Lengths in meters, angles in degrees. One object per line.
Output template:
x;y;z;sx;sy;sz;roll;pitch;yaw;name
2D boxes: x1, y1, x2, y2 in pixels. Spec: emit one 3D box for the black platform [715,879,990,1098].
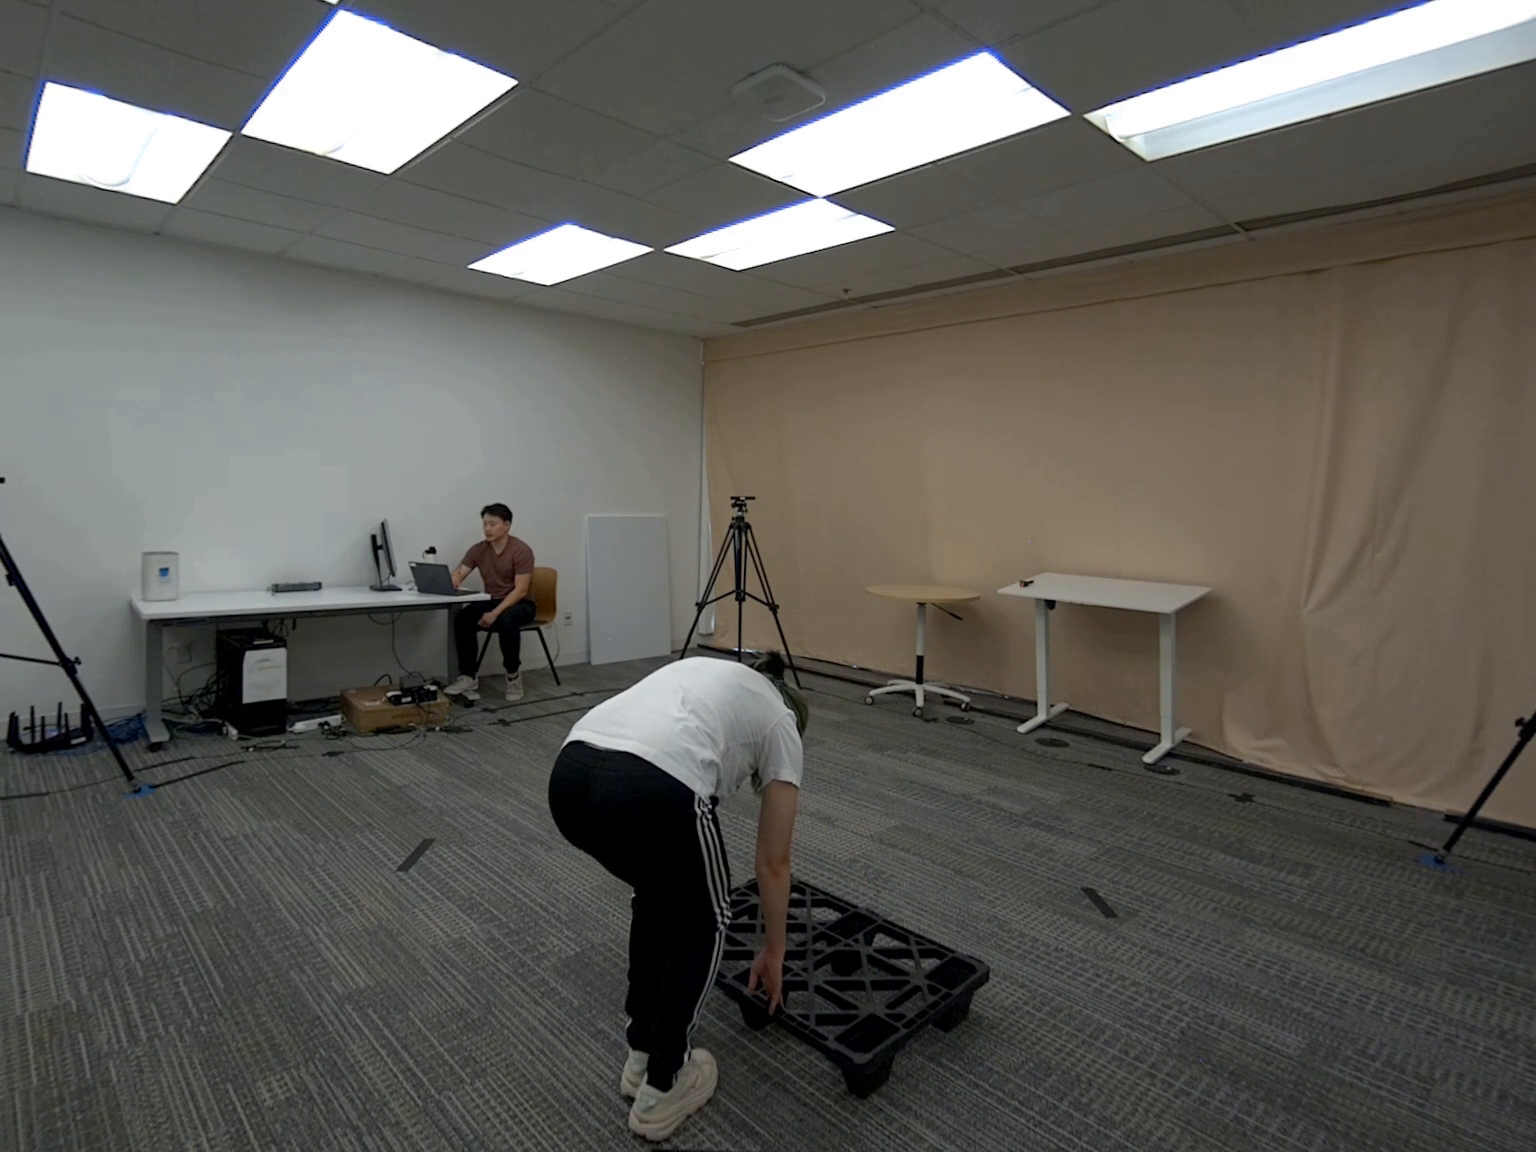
0.110;1.111;2.372;0.826;0.143;0.591;6;8;44;black platform
